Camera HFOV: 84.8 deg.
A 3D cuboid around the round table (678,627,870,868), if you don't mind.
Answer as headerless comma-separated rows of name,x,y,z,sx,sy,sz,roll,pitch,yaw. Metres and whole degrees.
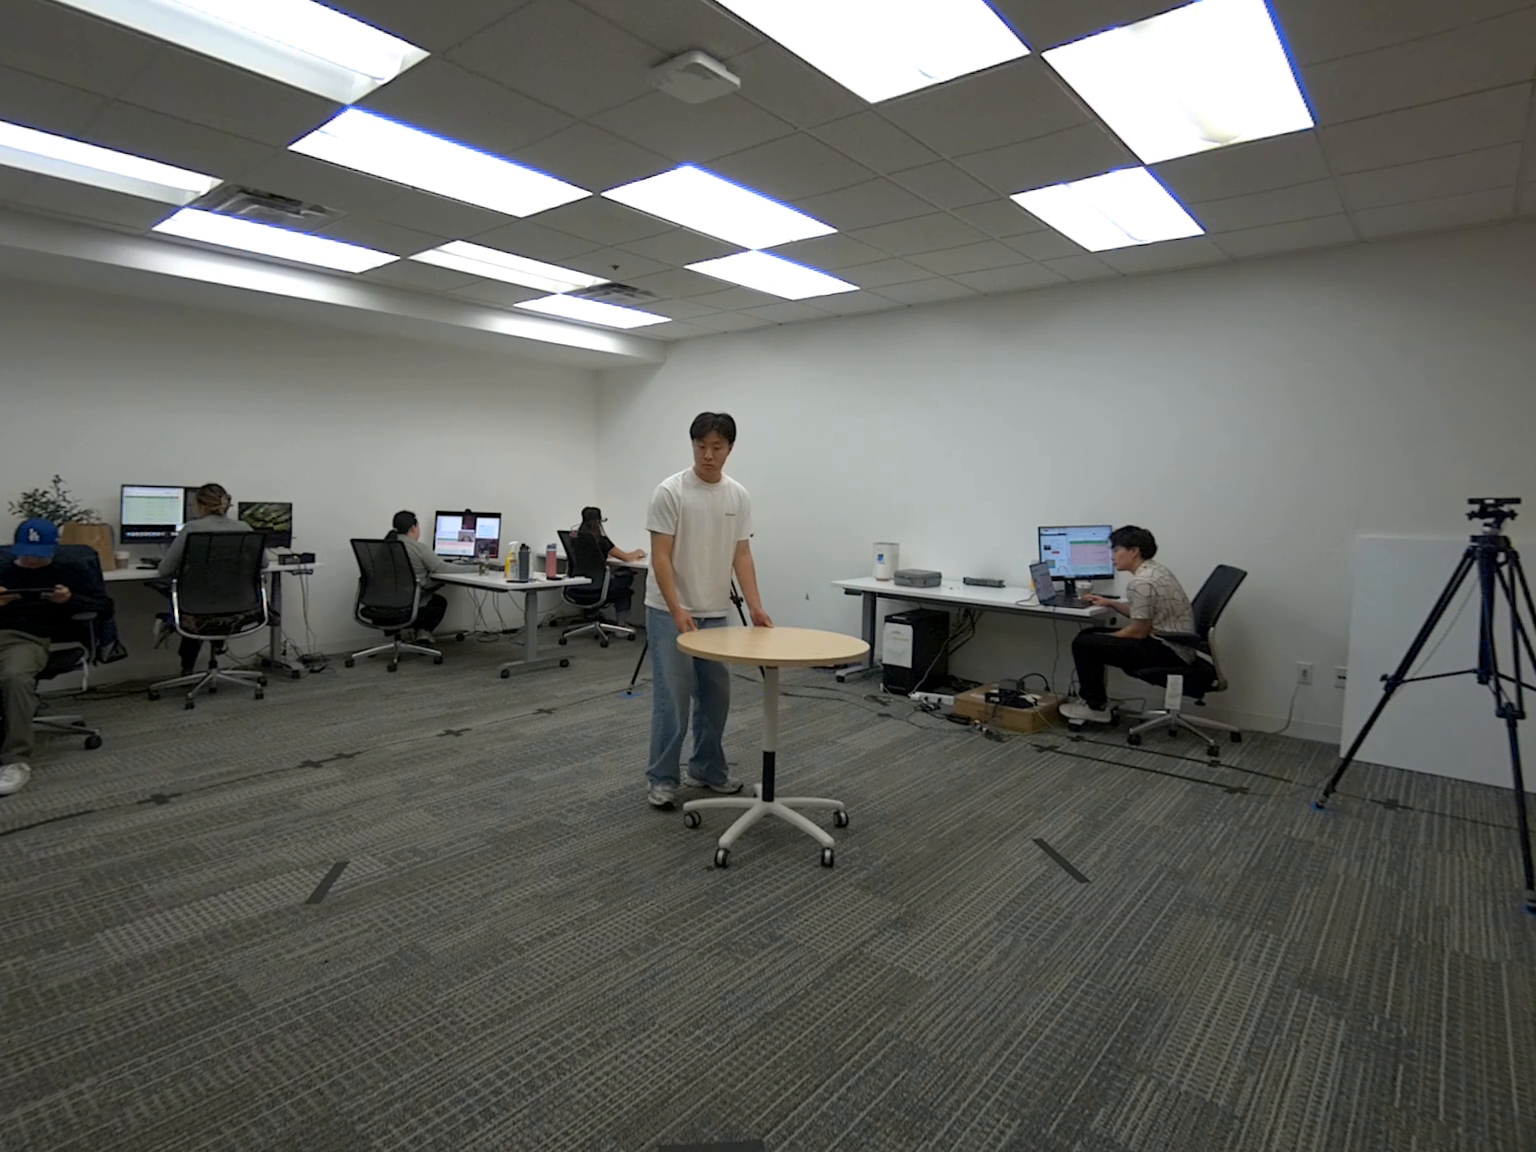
round table,0.001,0.651,3.405,0.763,0.791,0.768,1,4,-2
